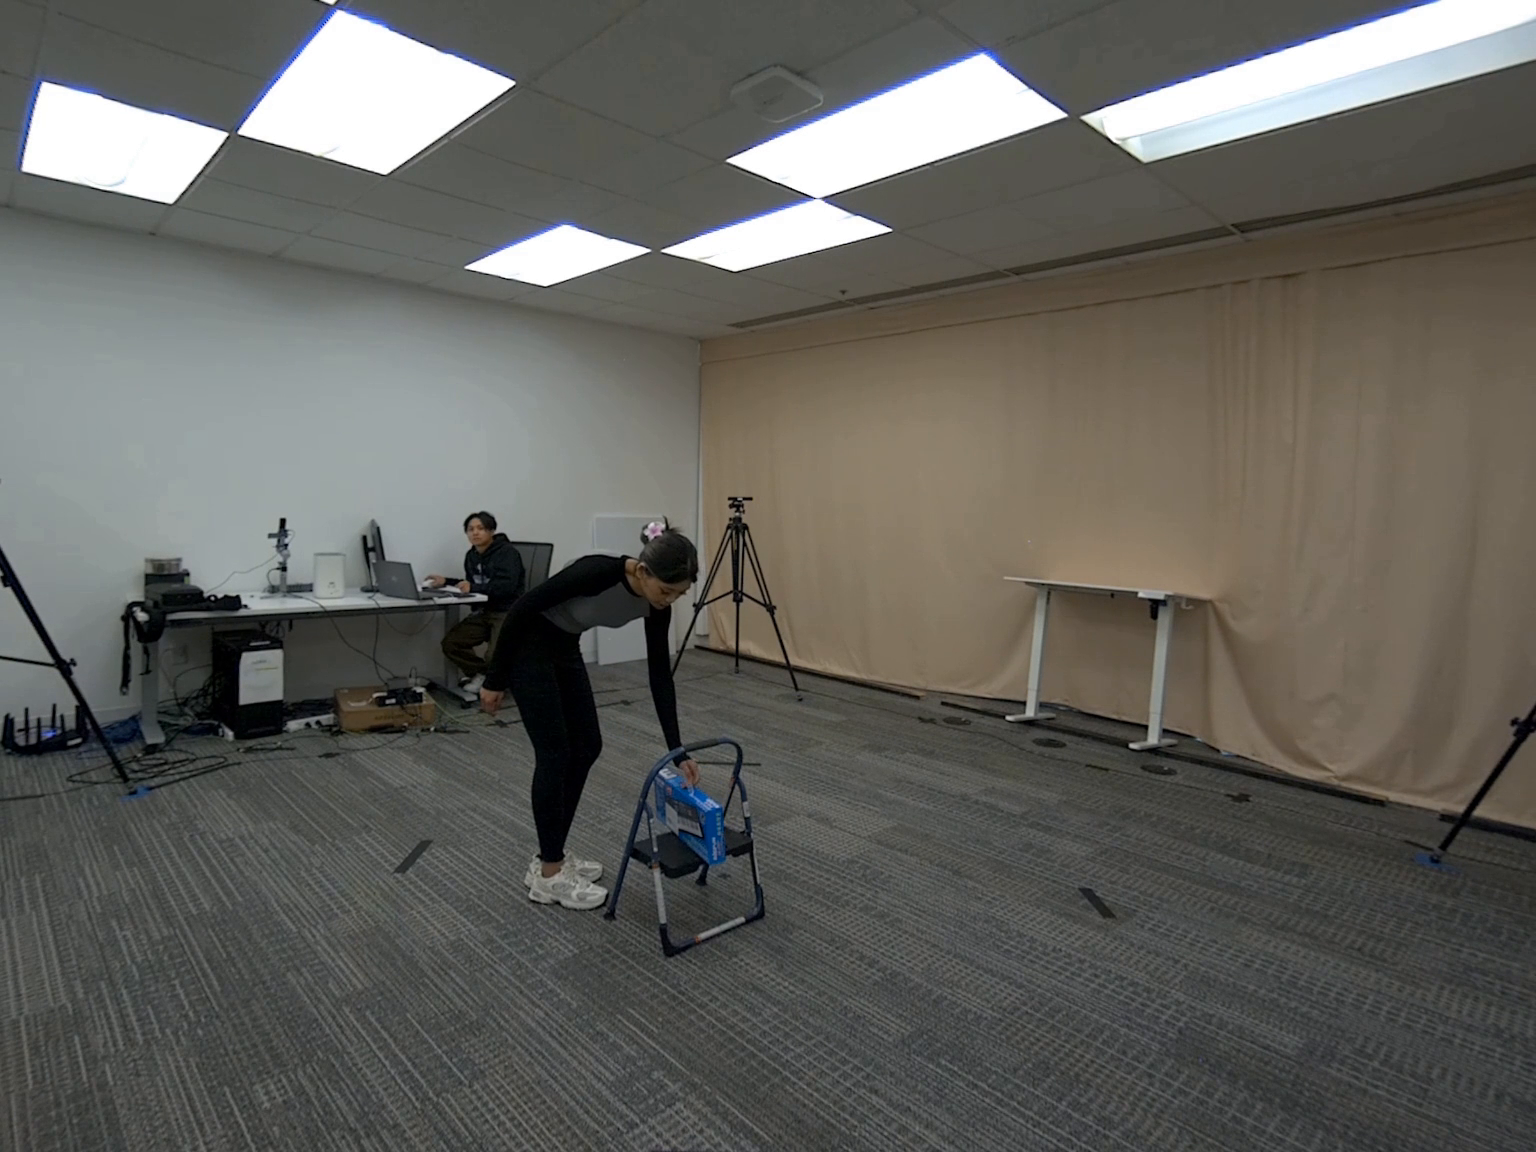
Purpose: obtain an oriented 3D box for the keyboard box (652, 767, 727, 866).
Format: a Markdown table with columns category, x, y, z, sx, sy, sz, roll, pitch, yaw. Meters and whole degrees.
| category | x | y | z | sx | sy | sz | roll | pitch | yaw |
| --- | --- | --- | --- | --- | --- | --- | --- | --- | --- |
| keyboard box | -0.272 | 0.785 | 2.771 | 0.058 | 0.175 | 0.446 | -6 | 7 | -27 |
